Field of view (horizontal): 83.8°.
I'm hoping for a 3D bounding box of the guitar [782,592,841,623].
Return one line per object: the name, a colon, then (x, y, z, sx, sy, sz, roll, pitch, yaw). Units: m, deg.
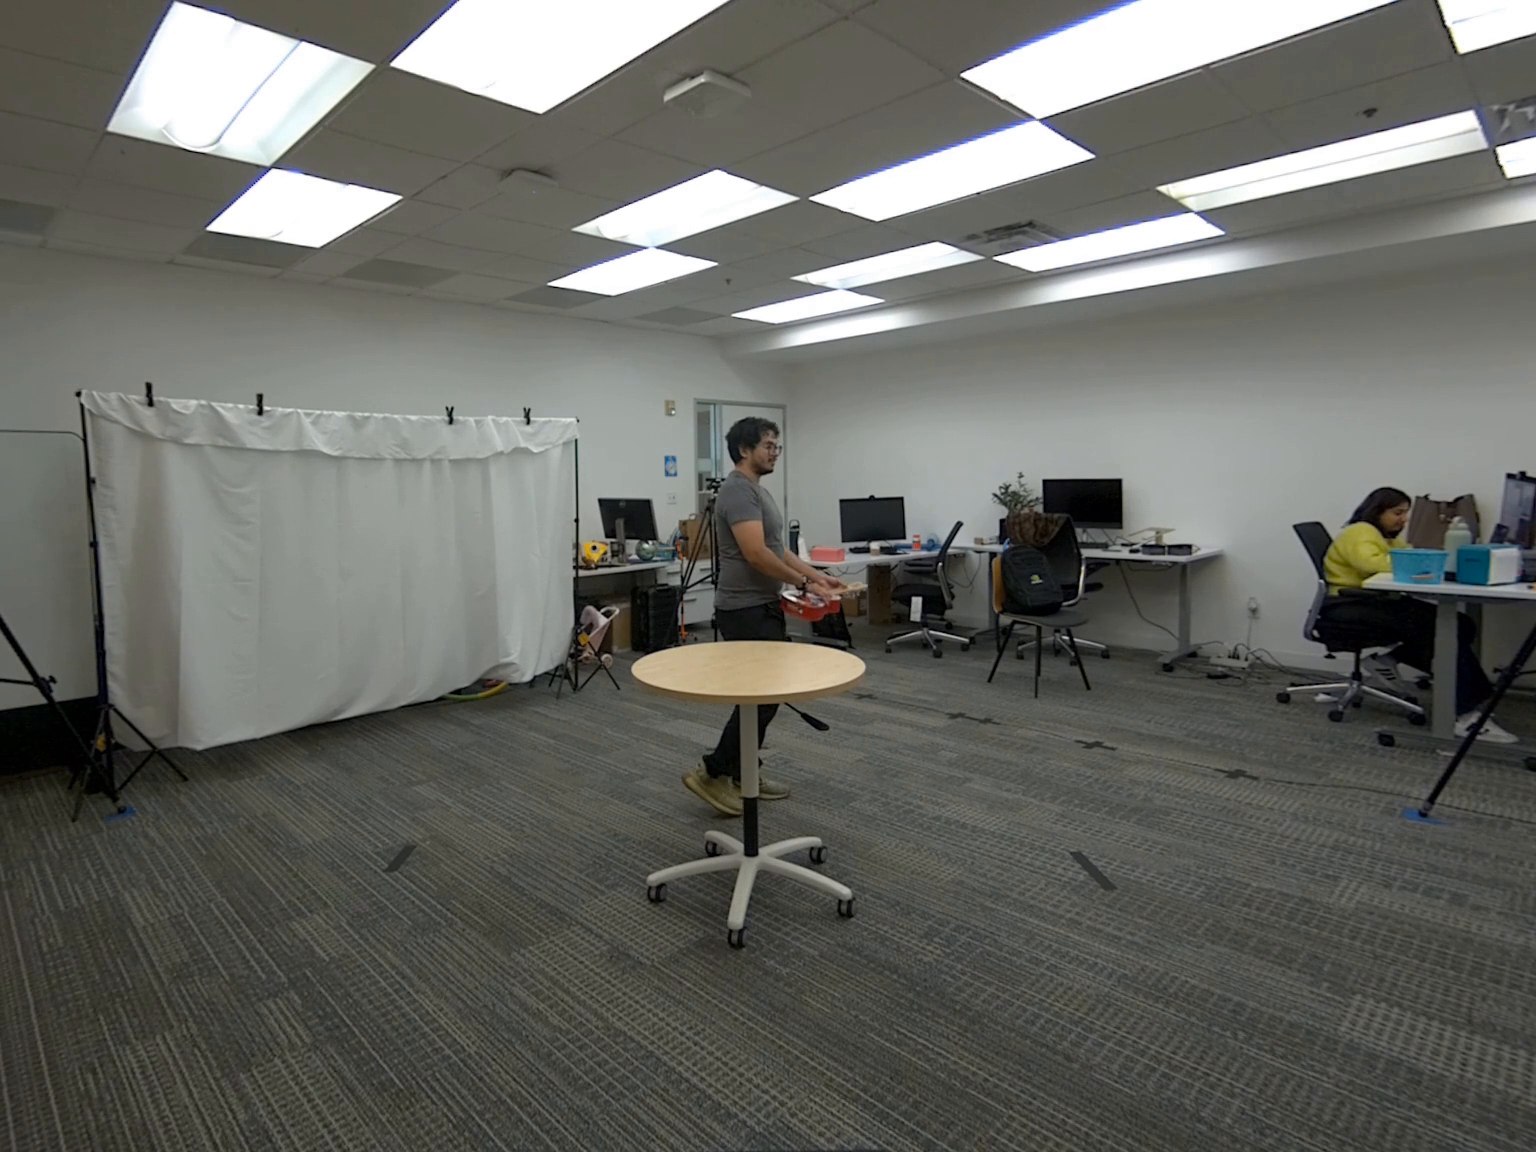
guitar: (0.285, 0.108, 3.640, 0.485, 0.070, 0.200, -5, 21, -35)
